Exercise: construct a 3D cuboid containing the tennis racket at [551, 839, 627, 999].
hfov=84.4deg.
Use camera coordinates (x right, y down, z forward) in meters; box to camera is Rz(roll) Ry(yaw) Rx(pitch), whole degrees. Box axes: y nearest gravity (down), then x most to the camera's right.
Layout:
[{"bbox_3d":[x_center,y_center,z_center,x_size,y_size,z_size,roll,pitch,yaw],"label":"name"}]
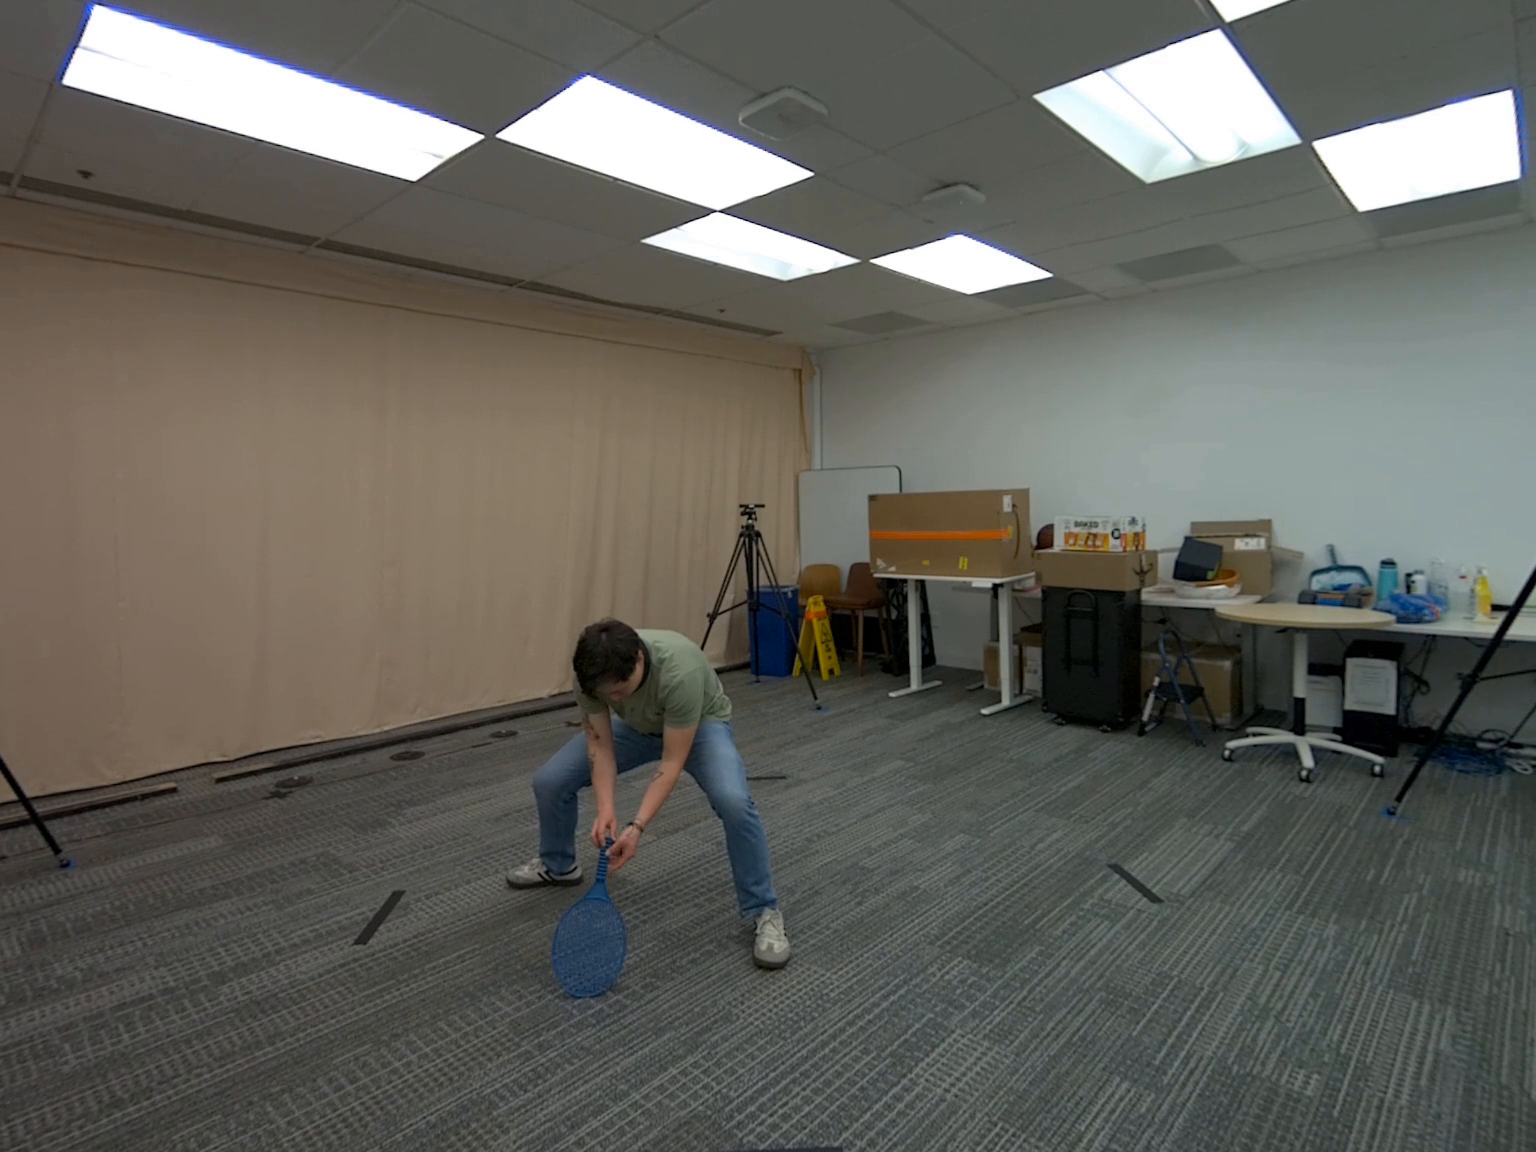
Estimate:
[{"bbox_3d":[-0.499,0.994,2.465,0.213,0.437,0.031,5,-19,-3],"label":"tennis racket"}]
